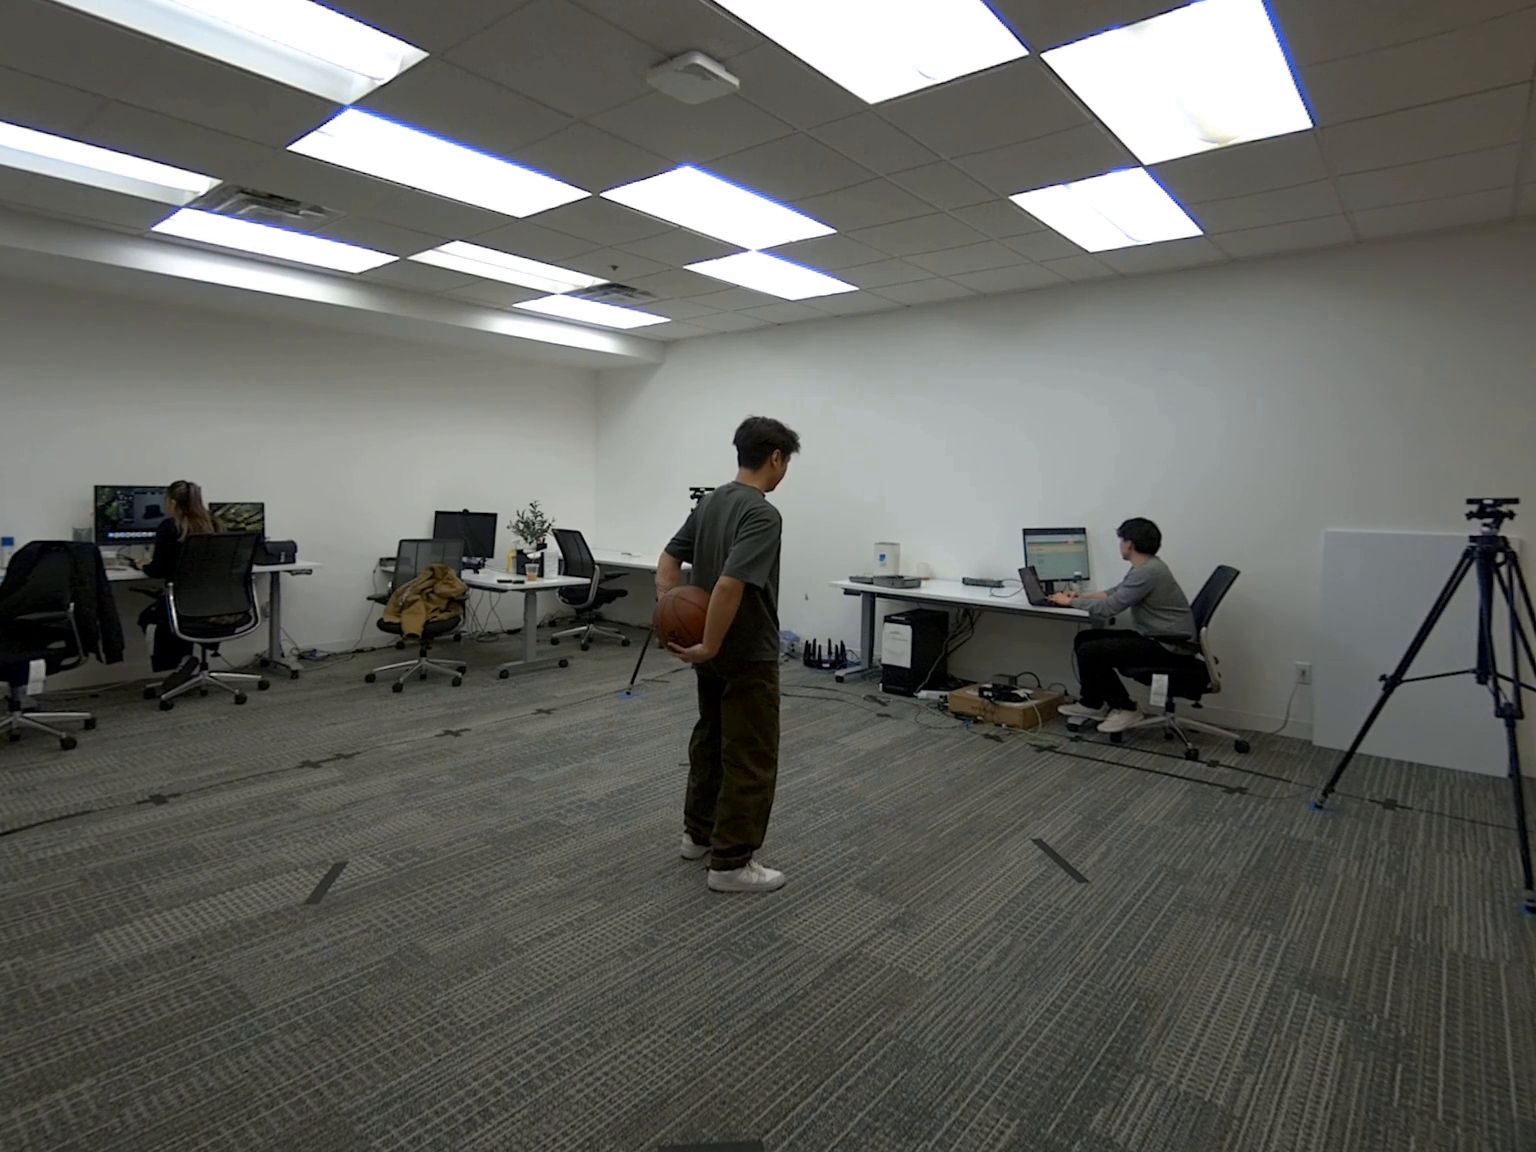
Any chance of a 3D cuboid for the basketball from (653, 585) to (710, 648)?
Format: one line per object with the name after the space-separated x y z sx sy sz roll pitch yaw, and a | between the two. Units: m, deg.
-0.287 0.144 2.909 0.235 0.235 0.237 1 4 -2 | basketball
